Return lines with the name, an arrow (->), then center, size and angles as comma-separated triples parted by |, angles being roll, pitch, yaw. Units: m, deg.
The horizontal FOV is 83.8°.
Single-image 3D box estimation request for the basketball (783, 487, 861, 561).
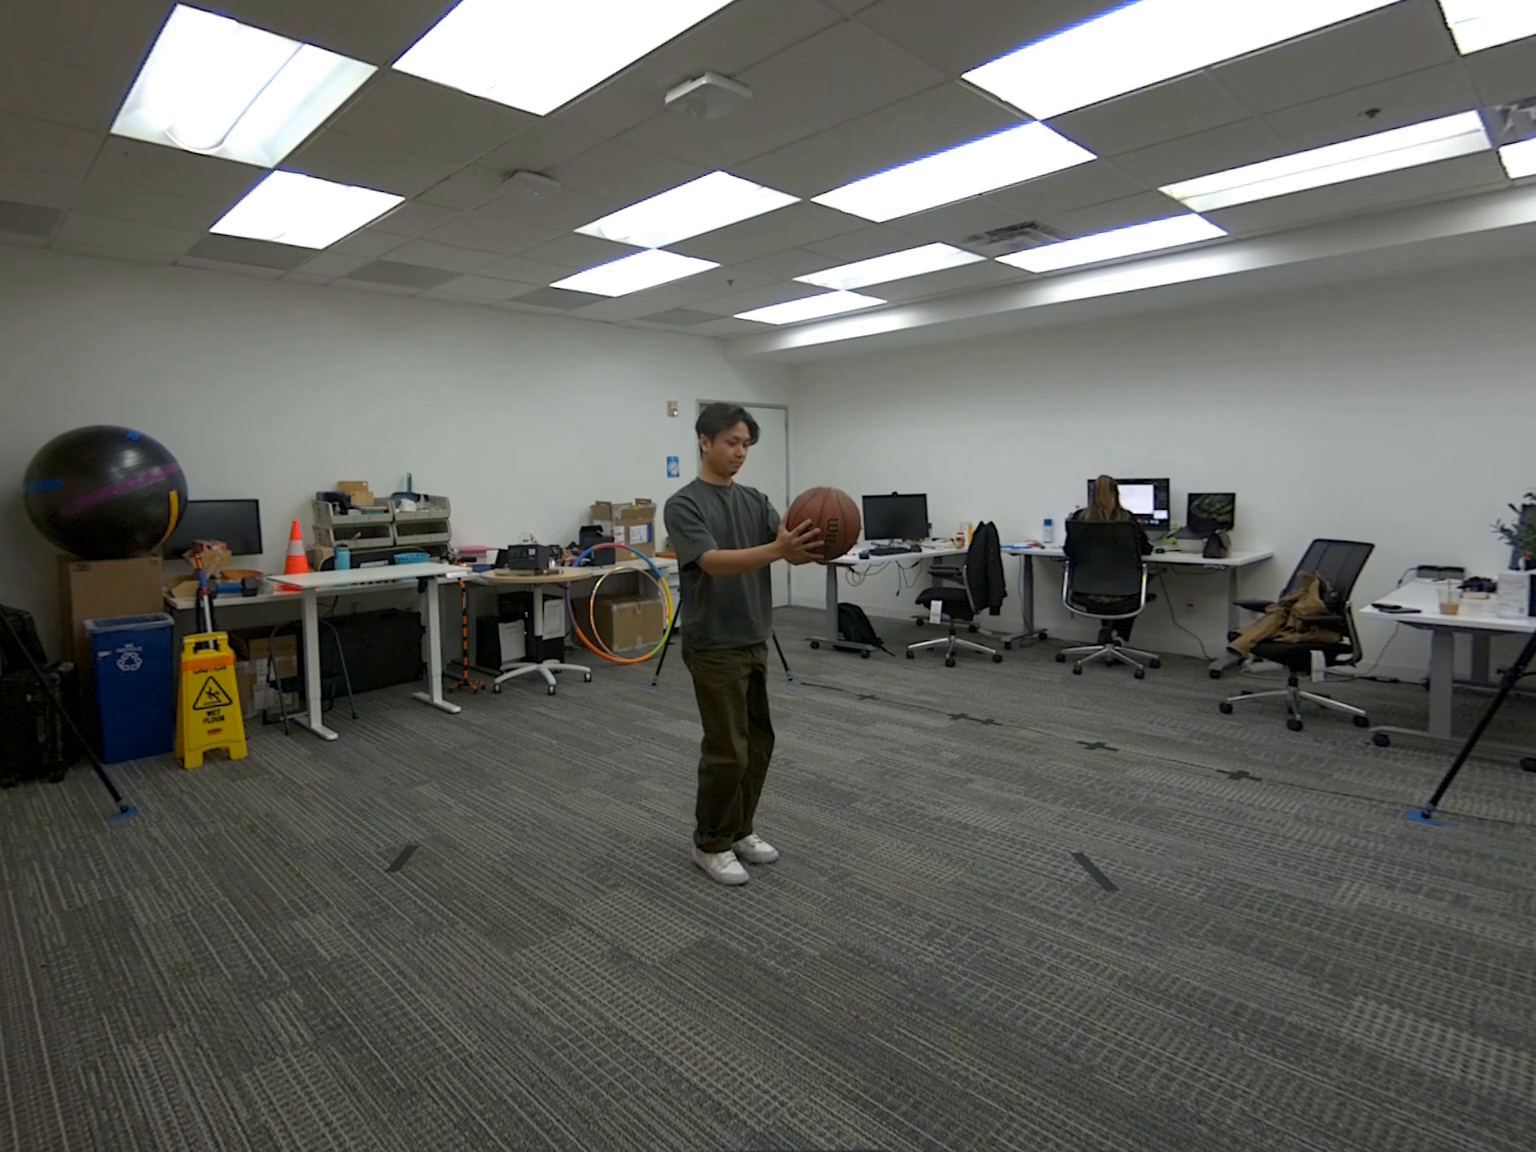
basketball -> 0.179, -0.163, 2.721 | 0.236, 0.235, 0.237 | -1, 5, -2
